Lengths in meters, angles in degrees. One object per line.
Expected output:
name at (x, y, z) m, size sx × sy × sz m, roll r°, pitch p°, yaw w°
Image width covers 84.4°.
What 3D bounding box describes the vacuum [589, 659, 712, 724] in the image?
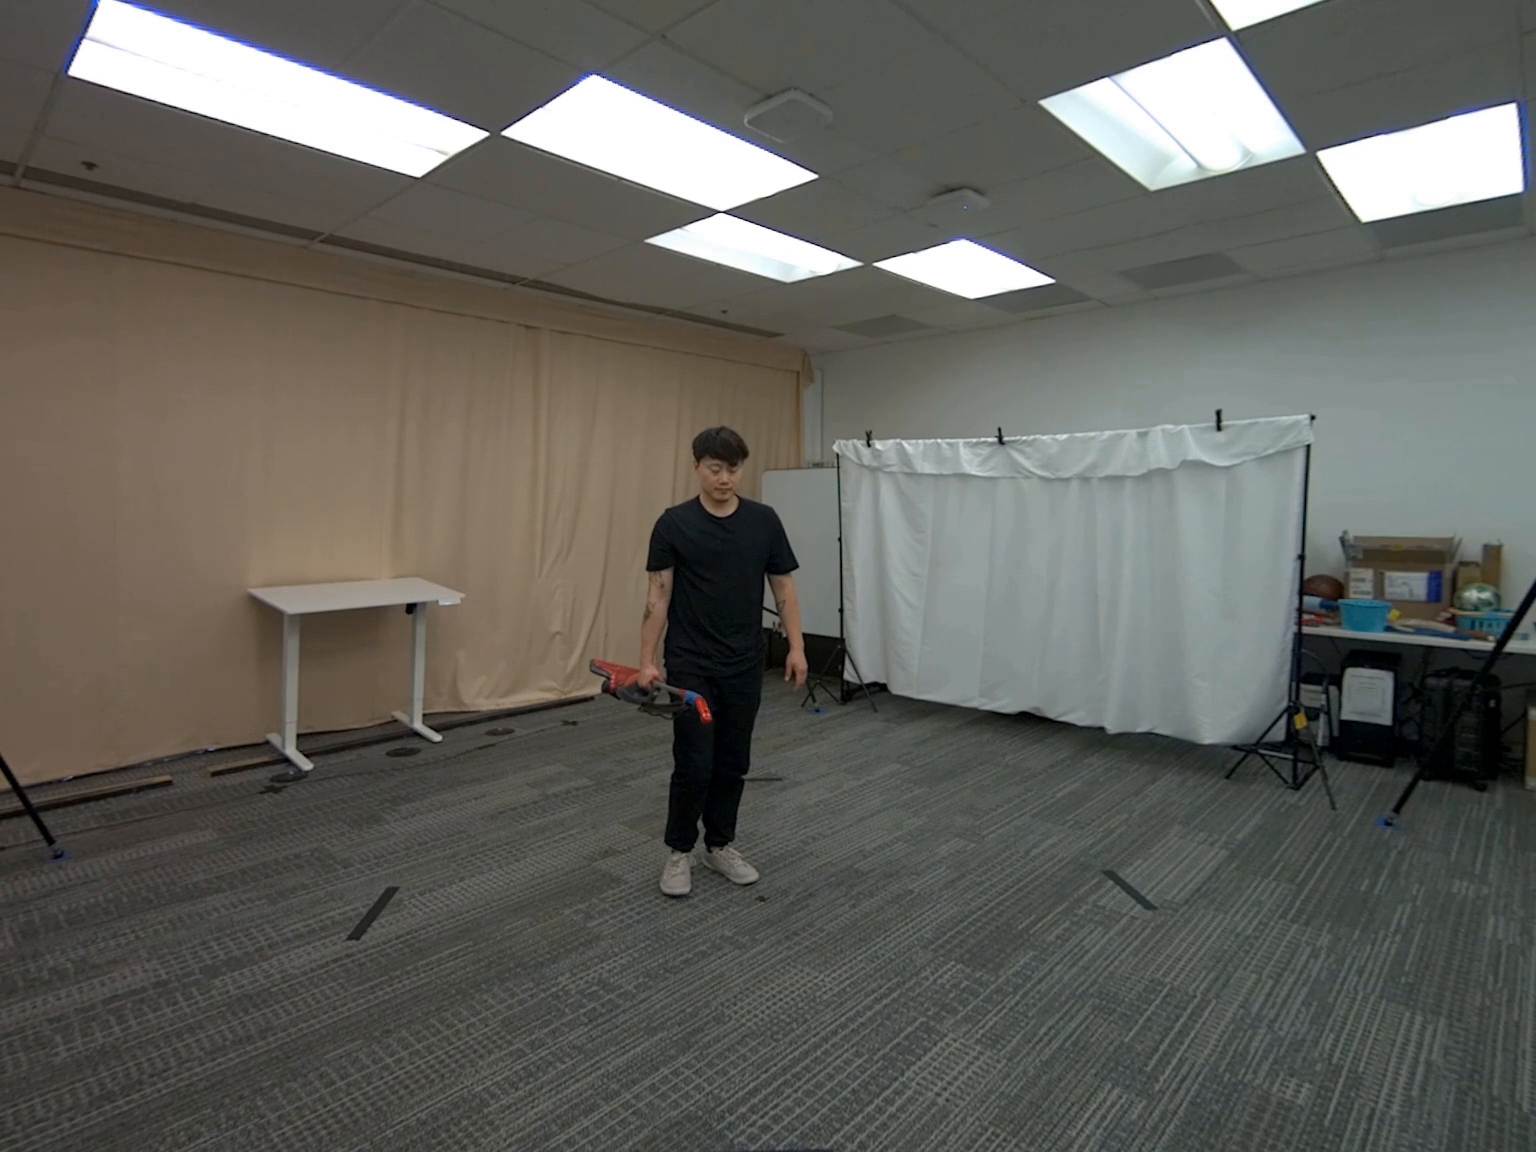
vacuum at (-0.395, 0.434, 2.976) m, size 0.246 × 0.144 × 1.072 m, roll 18°, pitch -7°, yaw -23°
